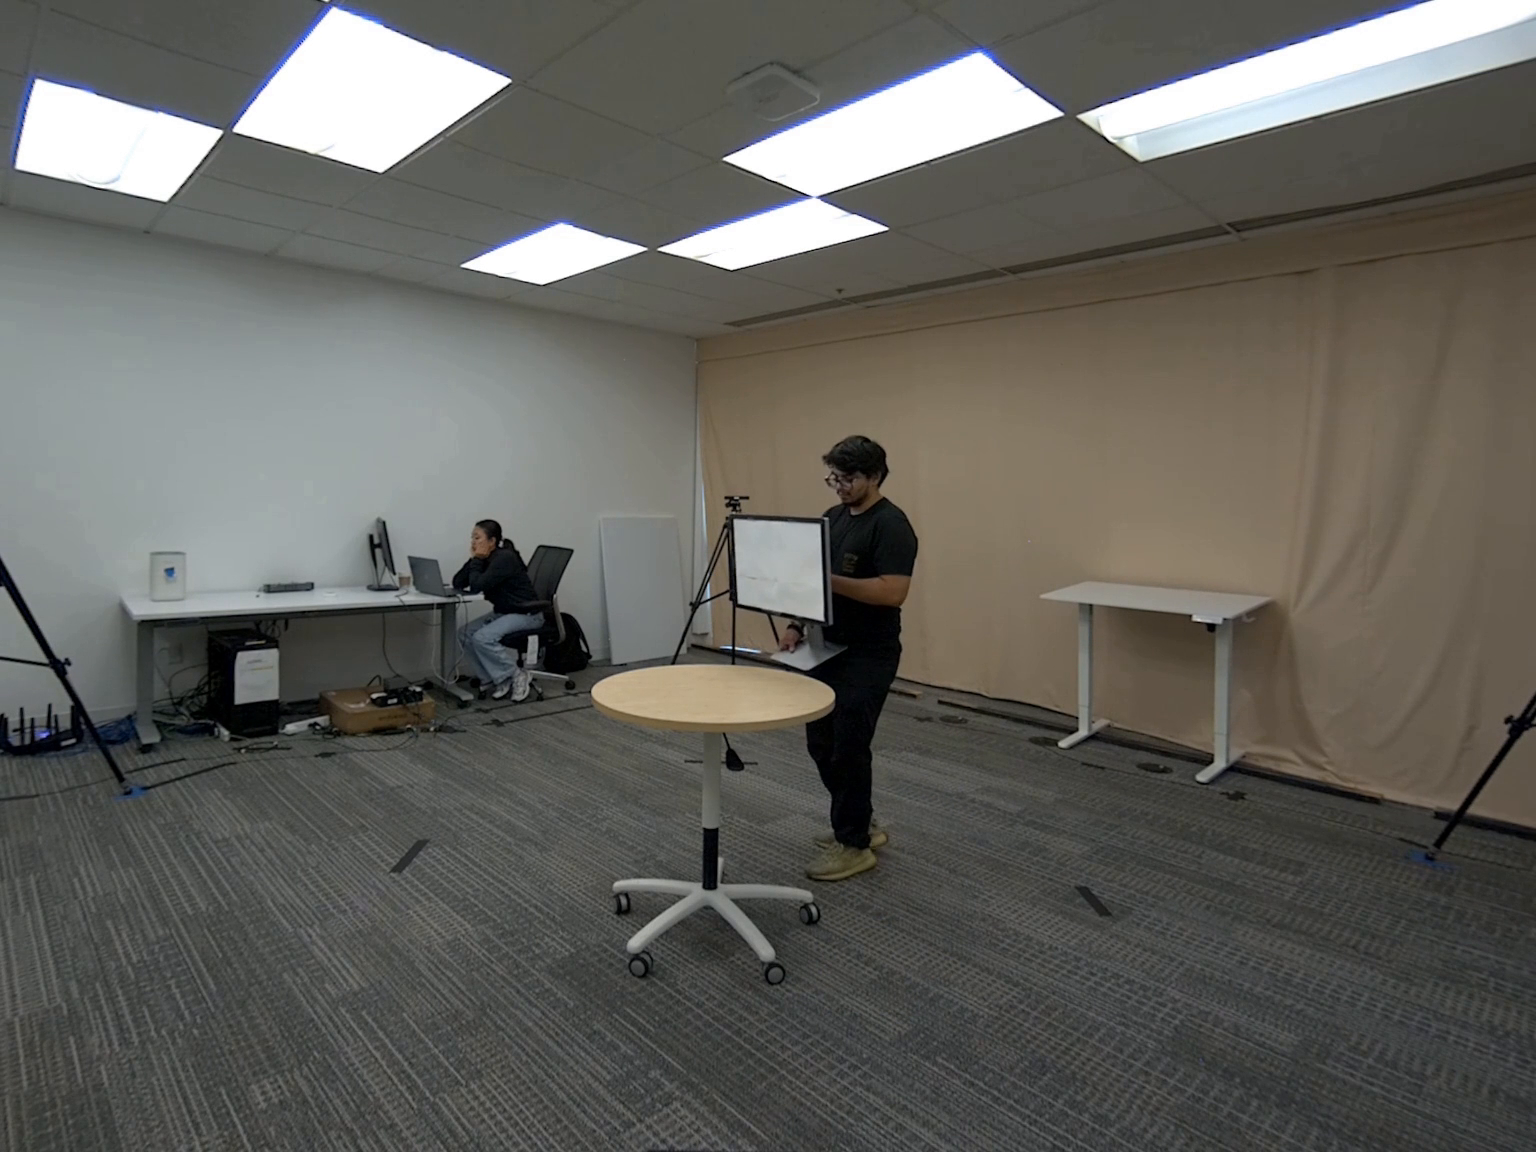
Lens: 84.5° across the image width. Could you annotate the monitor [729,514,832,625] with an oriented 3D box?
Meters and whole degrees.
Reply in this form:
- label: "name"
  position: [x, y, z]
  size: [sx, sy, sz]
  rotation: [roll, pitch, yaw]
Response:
- label: "monitor"
  position: [0.099, 0.038, 3.073]
  size: [0.207, 0.549, 0.579]
  rotation: [-15, 12, -32]
